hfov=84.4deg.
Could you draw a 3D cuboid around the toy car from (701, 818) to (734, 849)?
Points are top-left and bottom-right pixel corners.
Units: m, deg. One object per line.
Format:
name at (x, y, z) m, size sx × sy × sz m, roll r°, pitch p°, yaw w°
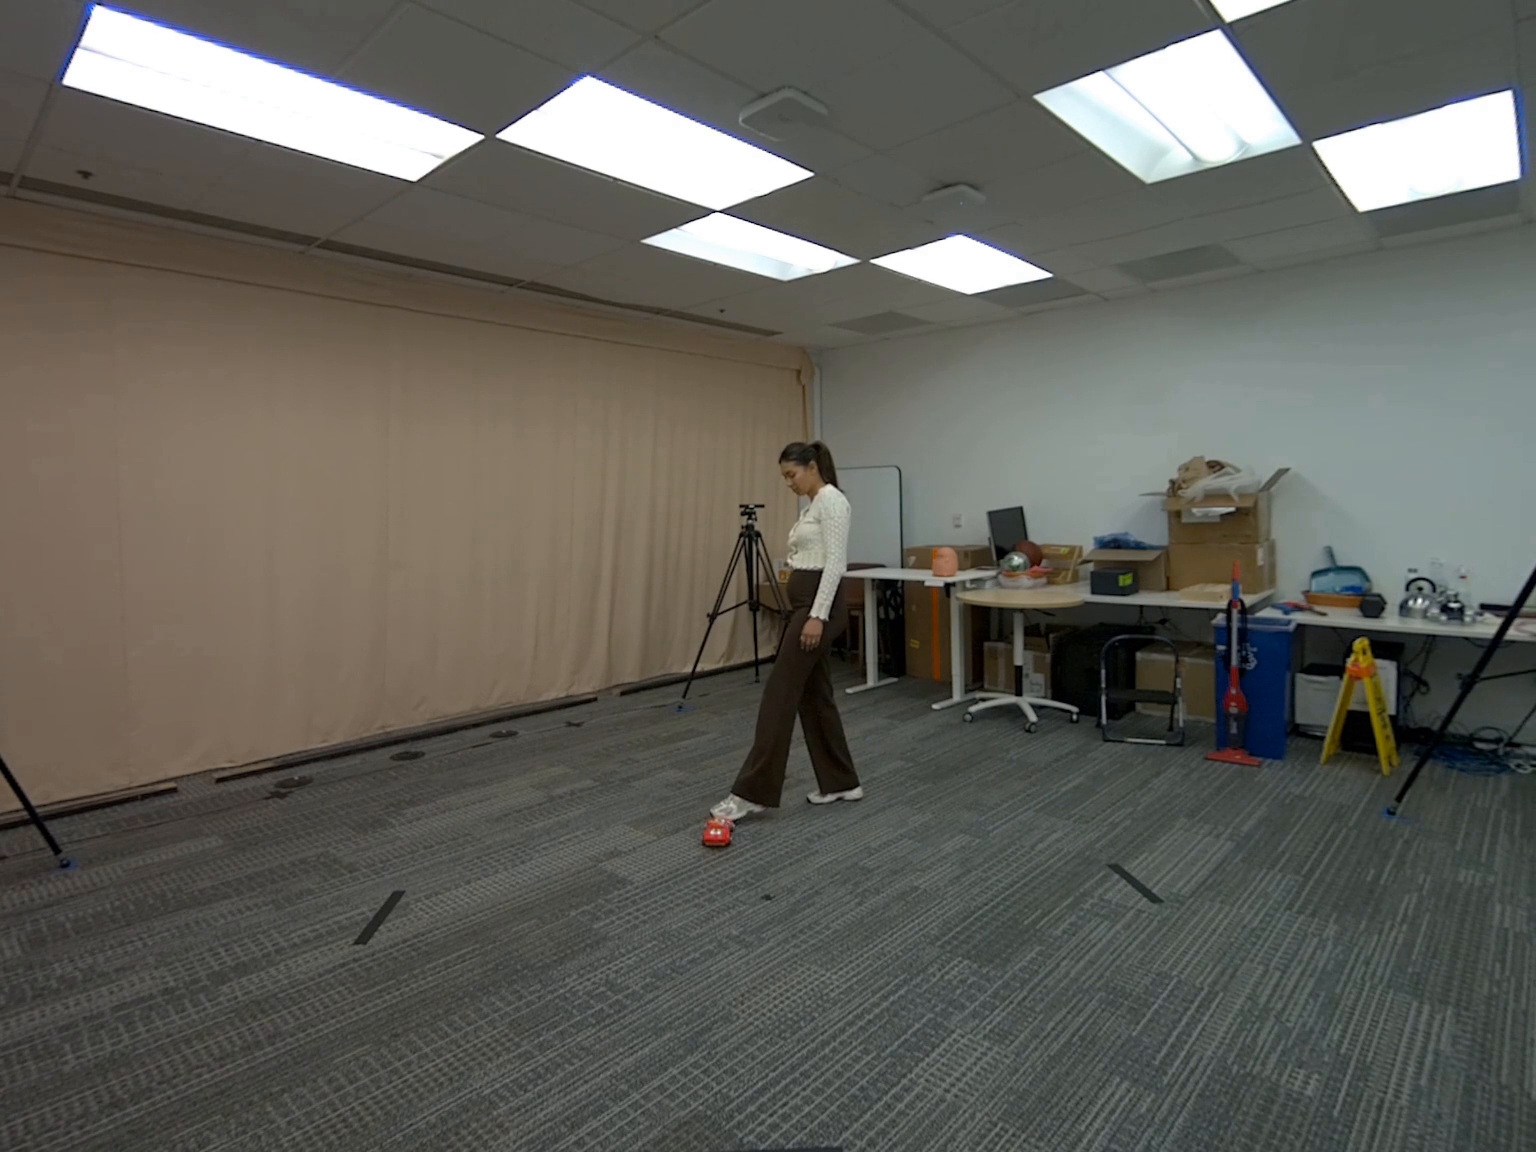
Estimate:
toy car at (-0.207, 1.068, 3.505) m, size 0.131 × 0.083 × 0.252 m, roll 0°, pitch -7°, yaw 4°
